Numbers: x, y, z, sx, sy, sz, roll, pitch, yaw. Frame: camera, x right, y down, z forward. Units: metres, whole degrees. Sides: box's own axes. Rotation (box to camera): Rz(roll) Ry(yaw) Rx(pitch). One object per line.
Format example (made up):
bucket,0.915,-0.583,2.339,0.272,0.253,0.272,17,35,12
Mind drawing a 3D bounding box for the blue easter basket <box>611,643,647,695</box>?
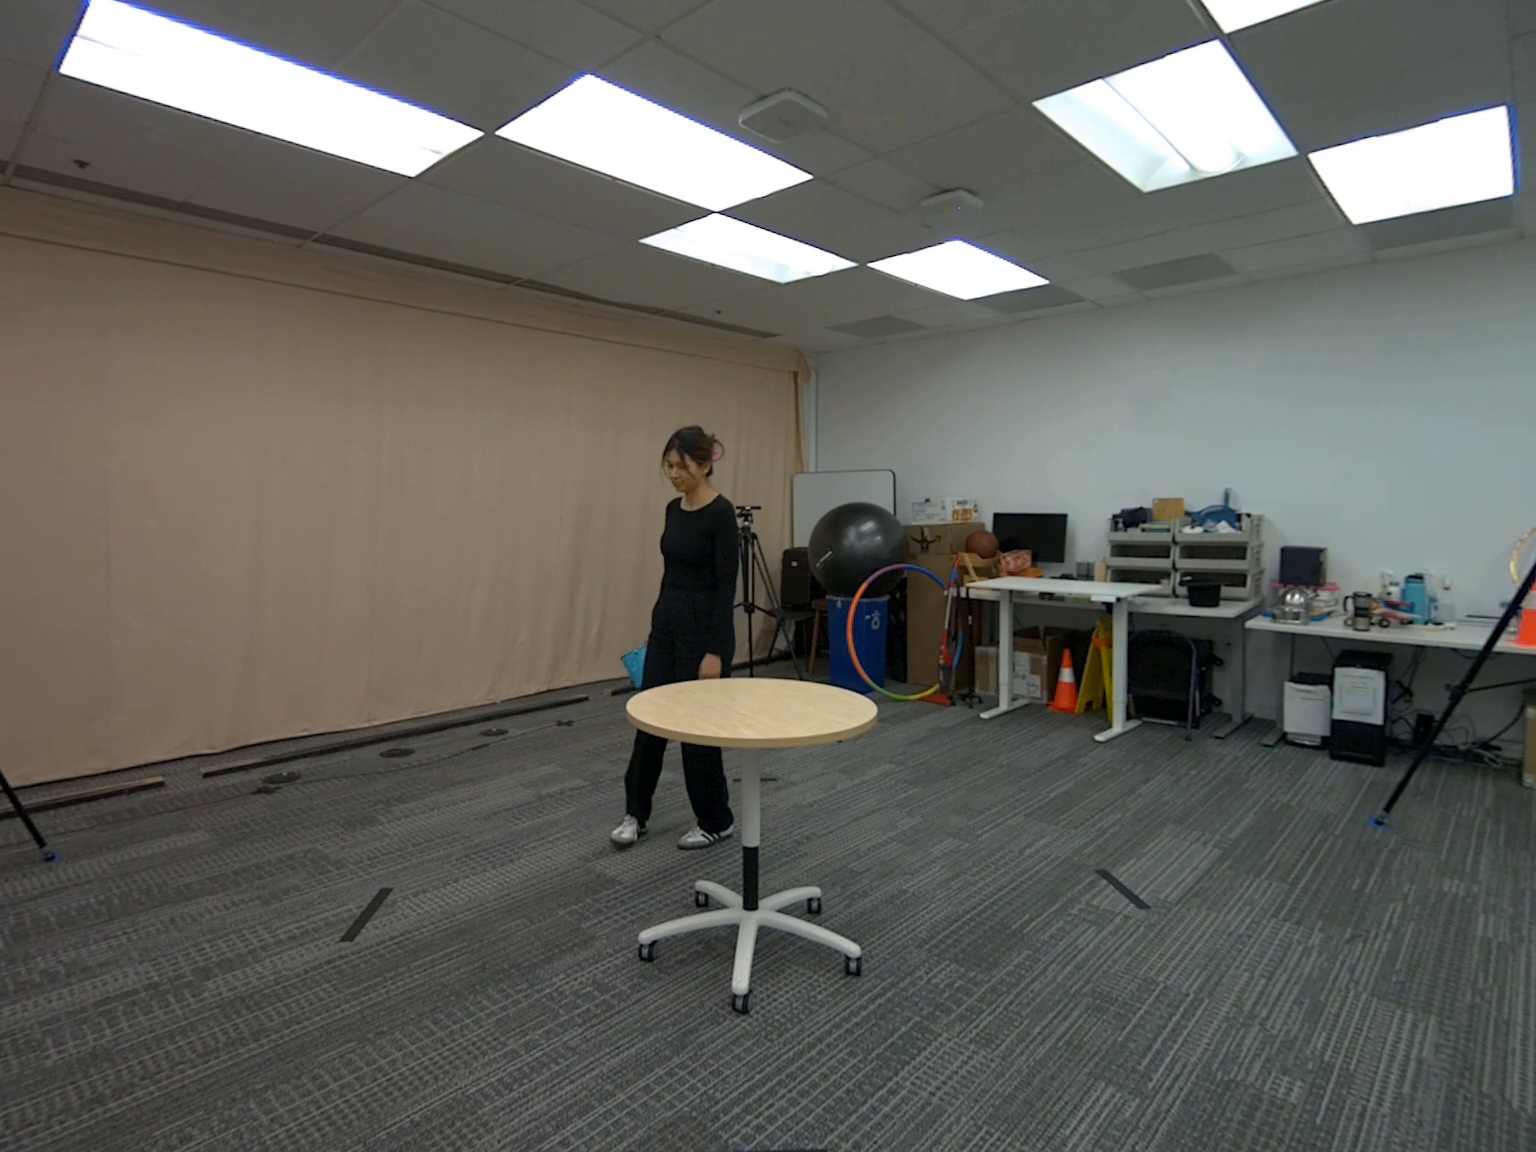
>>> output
blue easter basket,-0.546,0.402,3.786,0.242,0.158,0.242,-18,-12,-6
